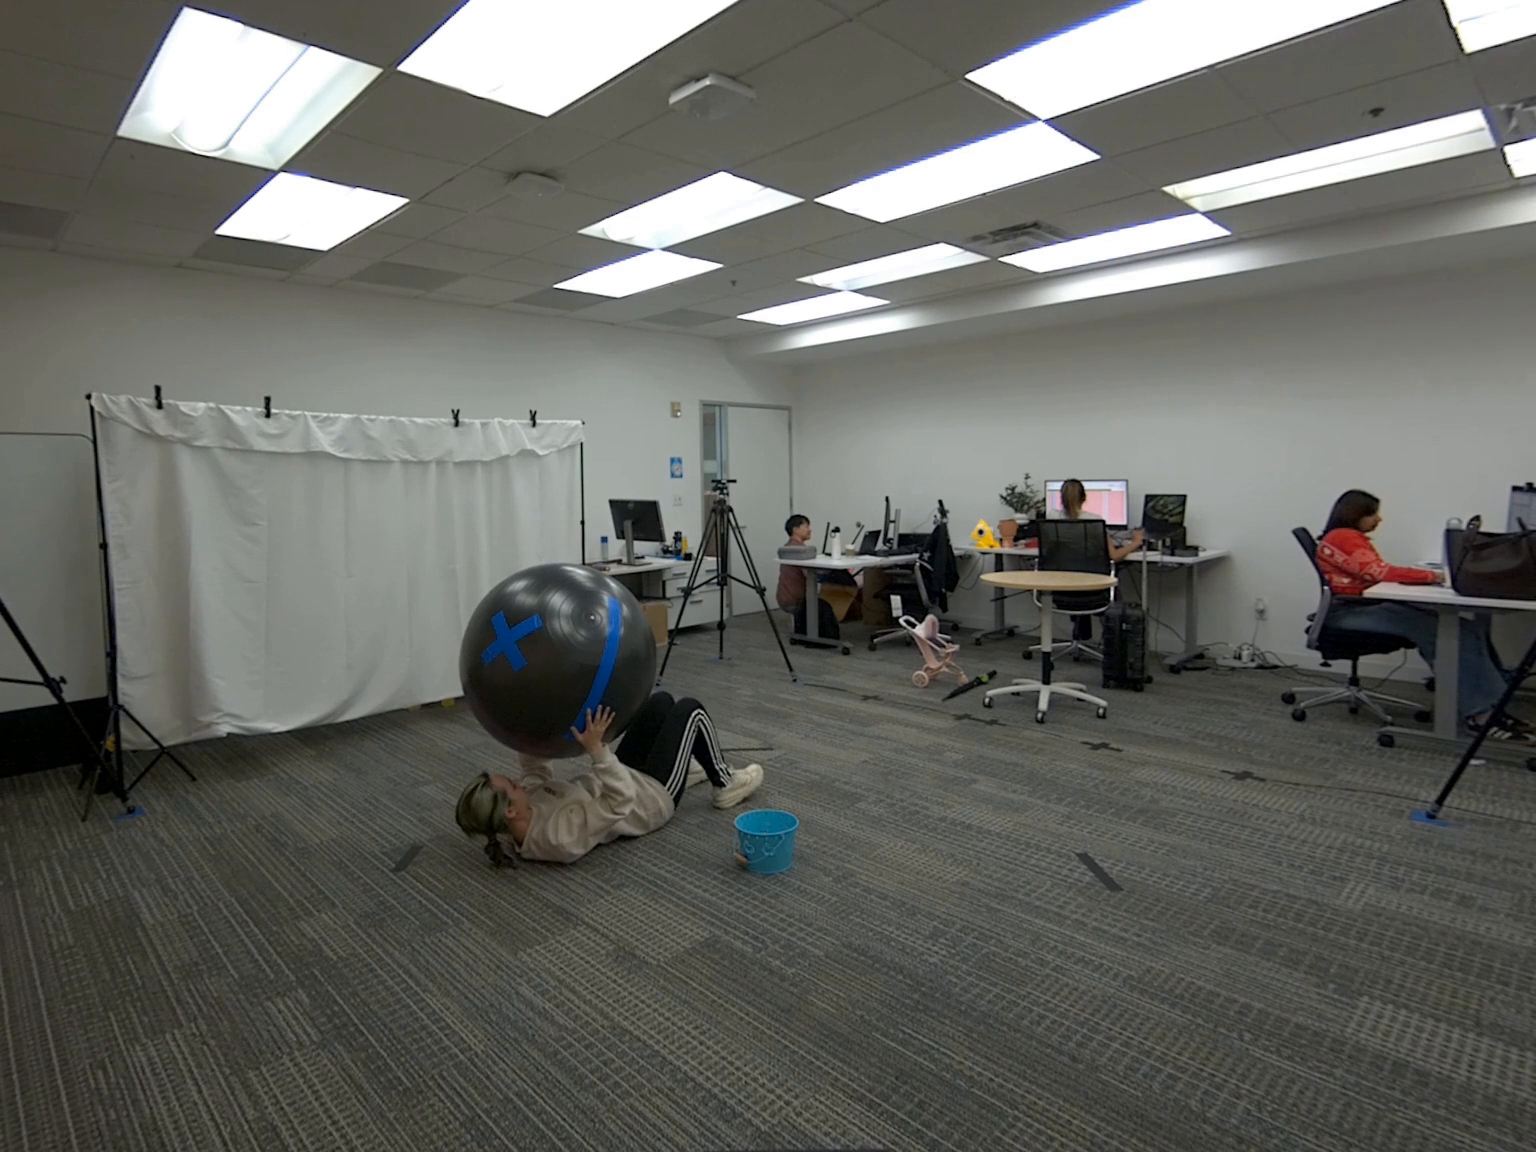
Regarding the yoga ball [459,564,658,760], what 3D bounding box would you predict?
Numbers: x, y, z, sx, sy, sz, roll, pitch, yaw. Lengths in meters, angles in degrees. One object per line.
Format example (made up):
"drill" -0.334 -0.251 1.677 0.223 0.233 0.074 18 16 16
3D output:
"yoga ball" -0.815 0.328 3.348 0.757 0.755 0.762 -1 5 -2
